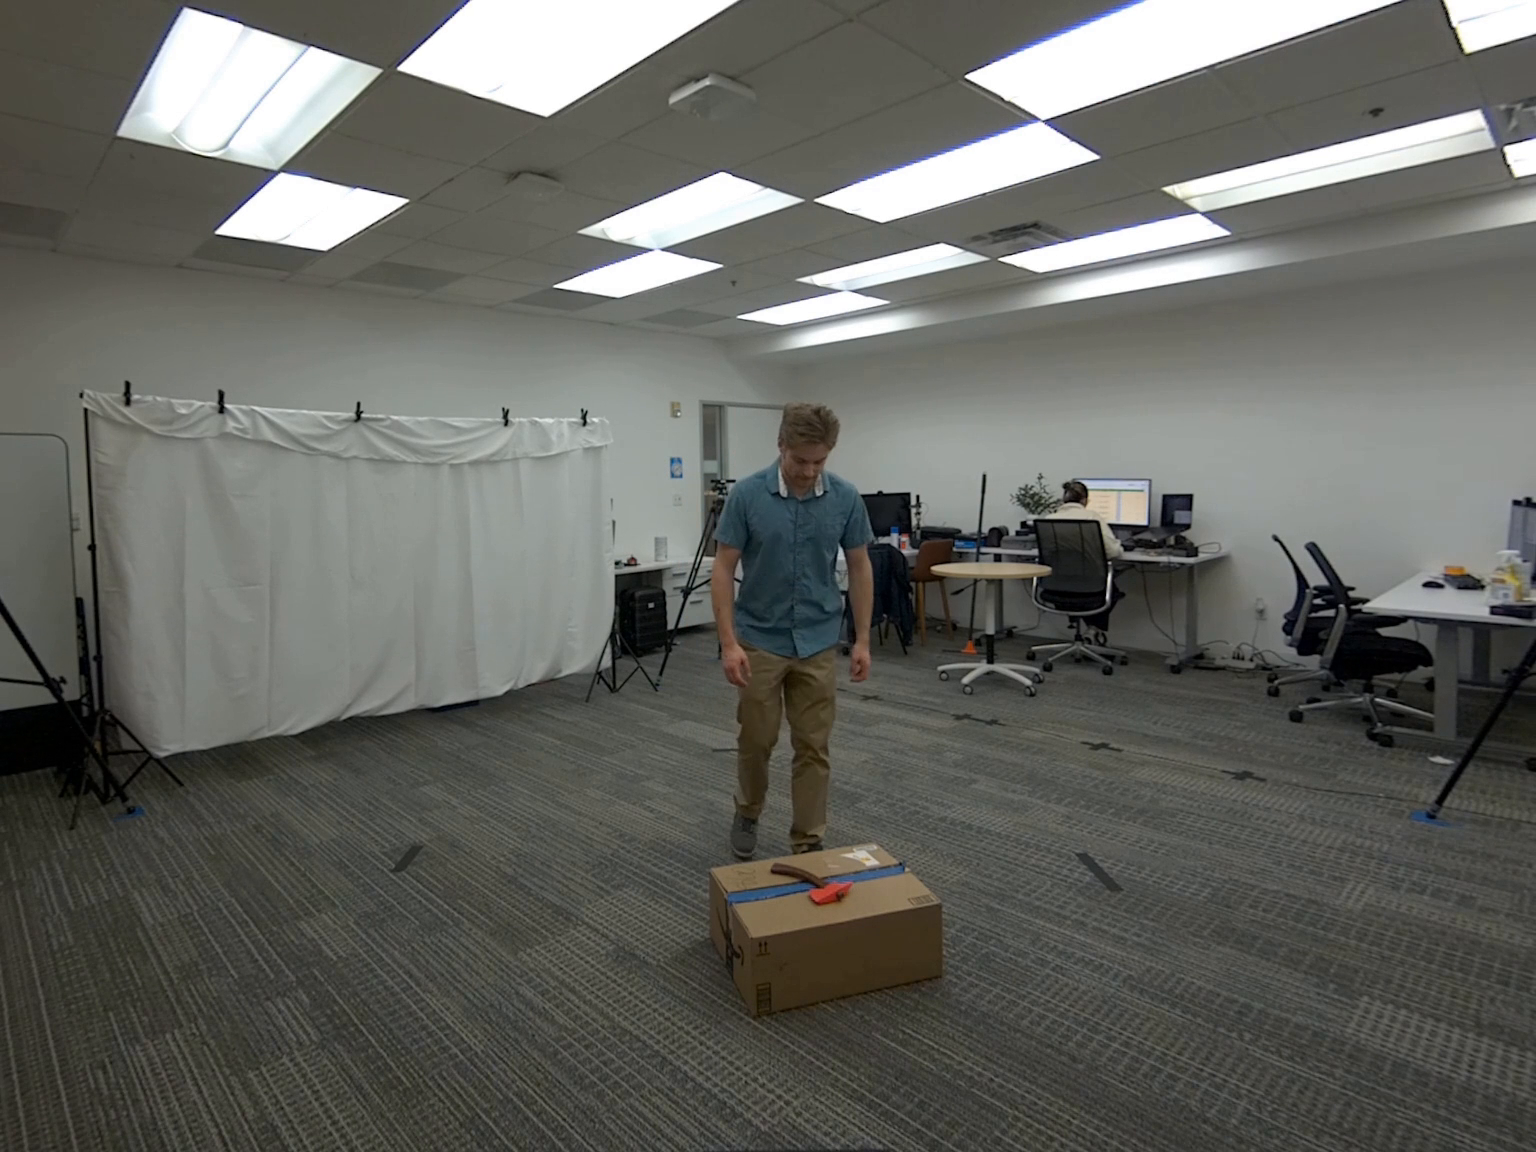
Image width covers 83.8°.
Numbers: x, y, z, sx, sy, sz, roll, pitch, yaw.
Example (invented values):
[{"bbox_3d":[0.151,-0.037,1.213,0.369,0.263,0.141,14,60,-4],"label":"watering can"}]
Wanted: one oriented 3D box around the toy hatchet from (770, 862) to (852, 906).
[{"bbox_3d":[0.105,0.888,2.468,0.278,0.029,0.128,2,14,40],"label":"toy hatchet"}]
